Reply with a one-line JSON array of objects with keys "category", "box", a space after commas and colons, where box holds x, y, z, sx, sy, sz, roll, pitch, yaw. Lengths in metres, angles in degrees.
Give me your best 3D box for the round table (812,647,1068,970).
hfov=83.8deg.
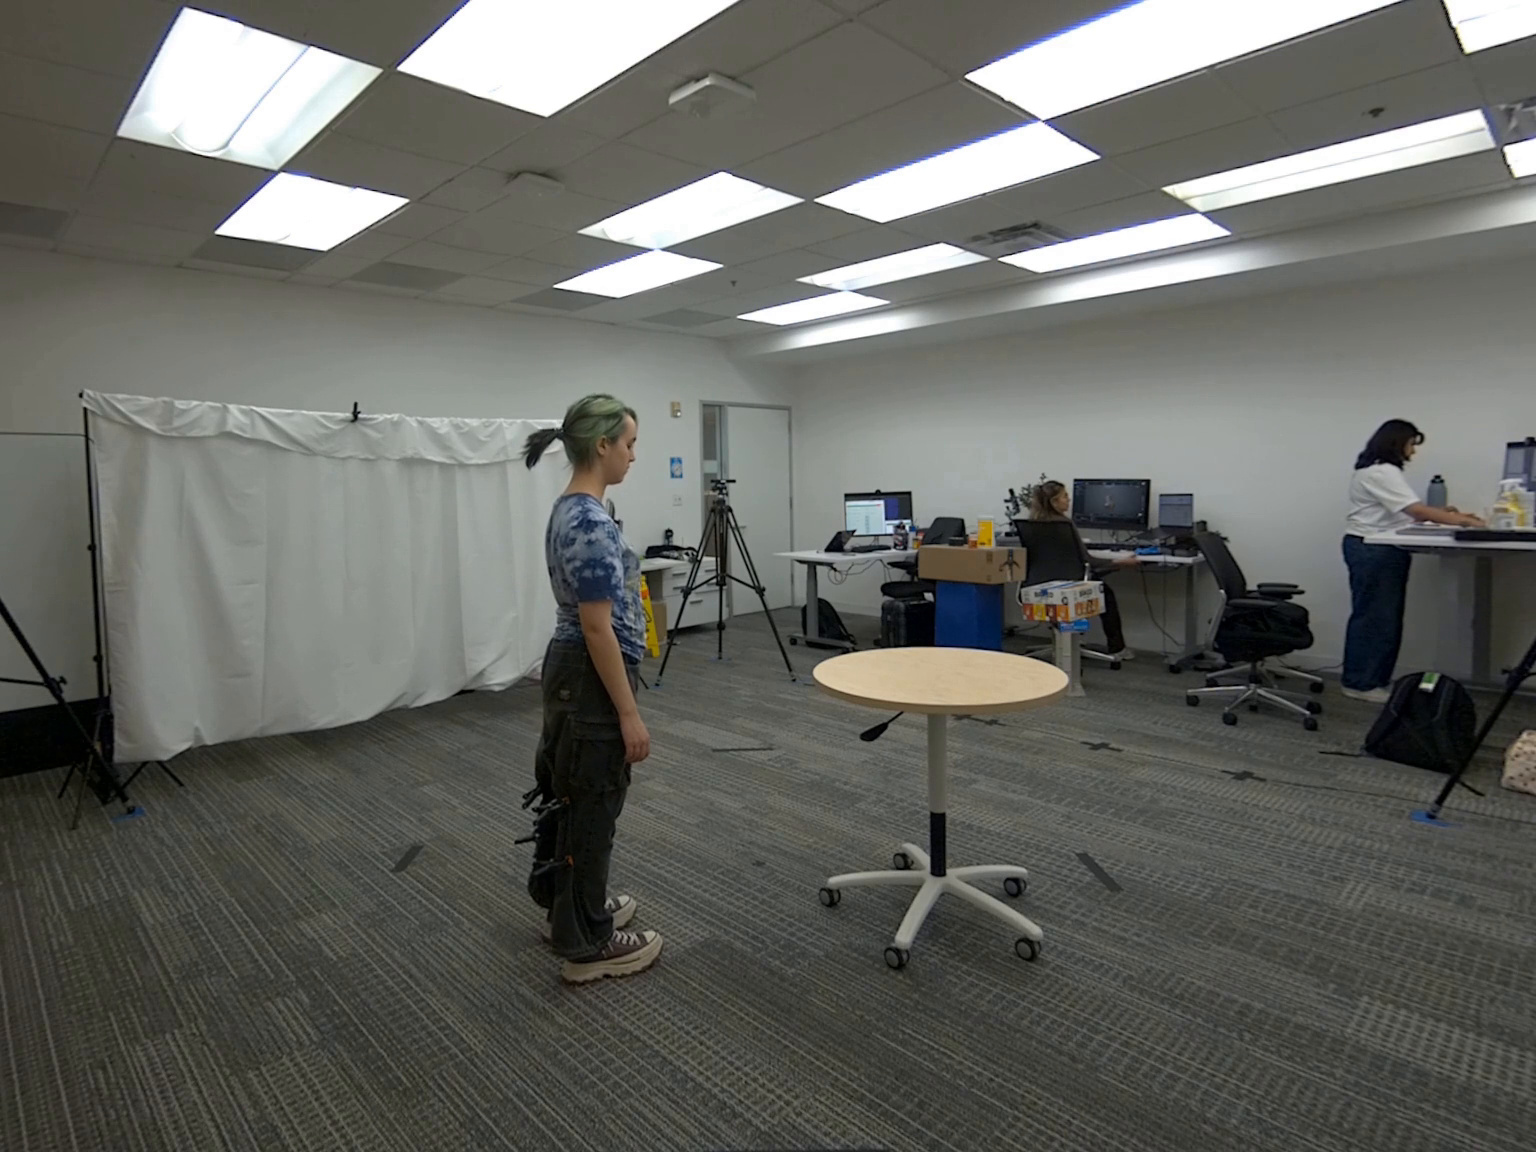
[{"category": "round table", "box": [0.539, 0.697, 2.683, 0.763, 0.791, 0.768, -1, 5, -2]}]
